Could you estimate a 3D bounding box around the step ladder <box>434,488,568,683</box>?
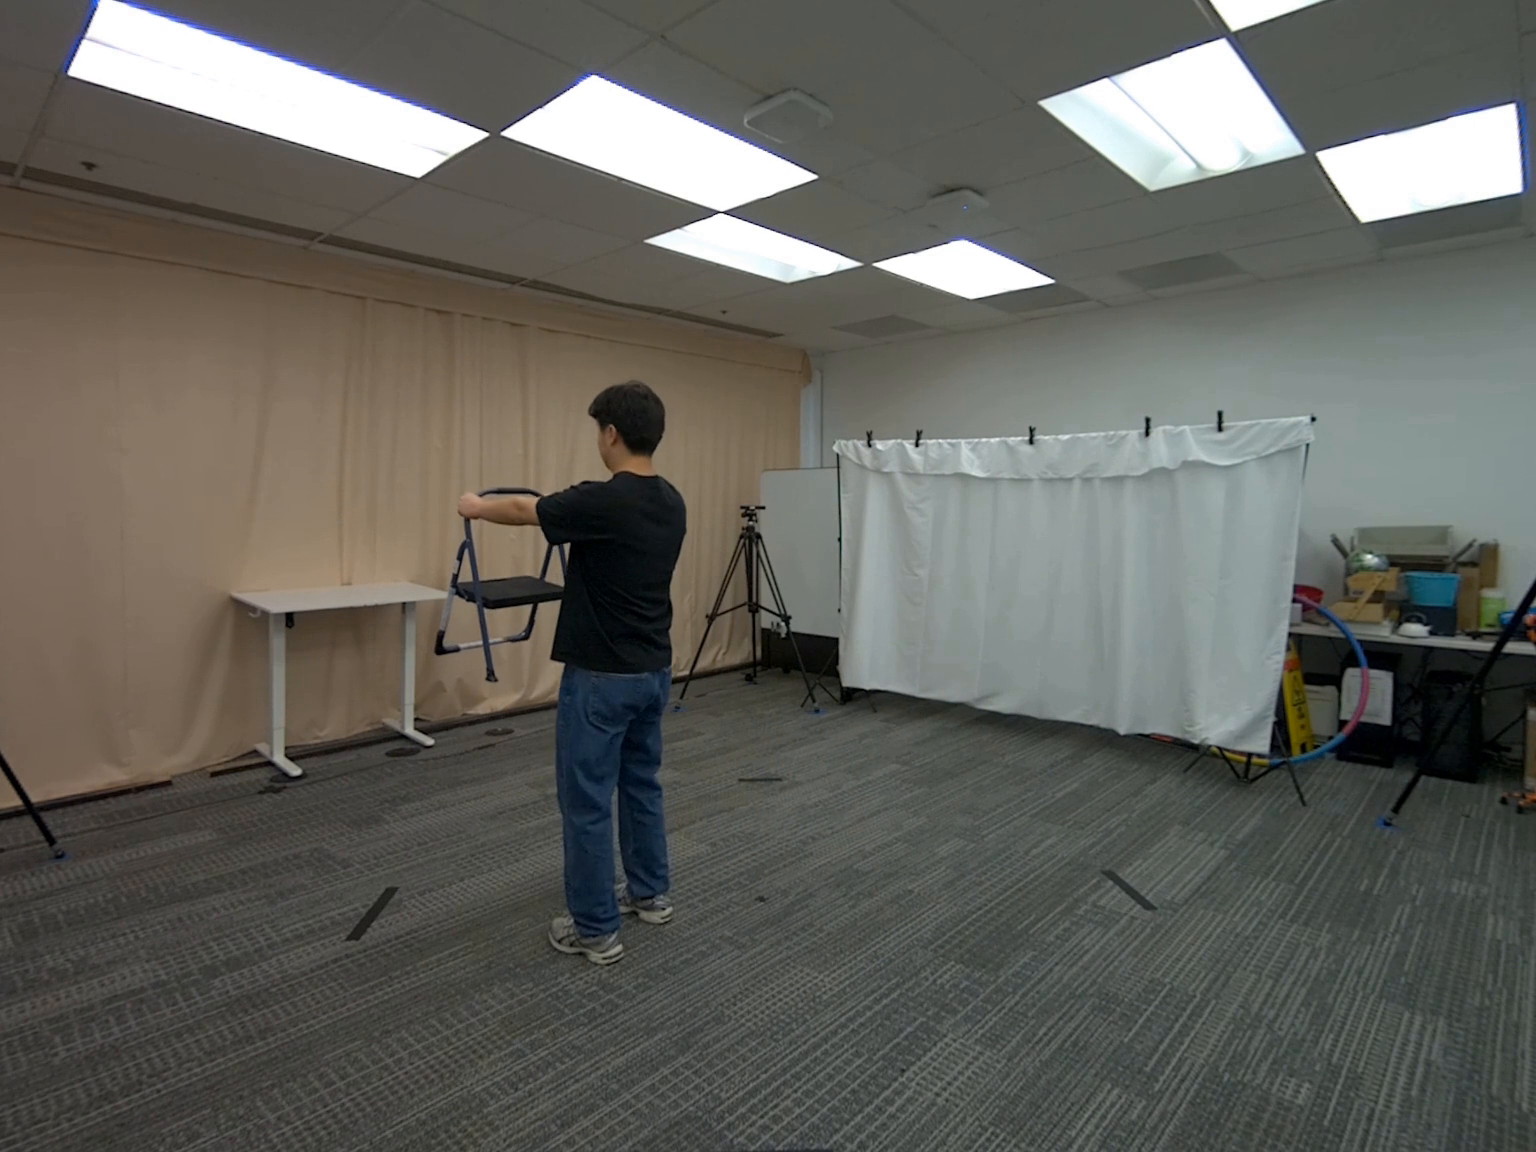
[{"bbox_3d":[-0.881,0.003,2.990,0.361,0.603,0.418,12,10,35],"label":"step ladder"}]
